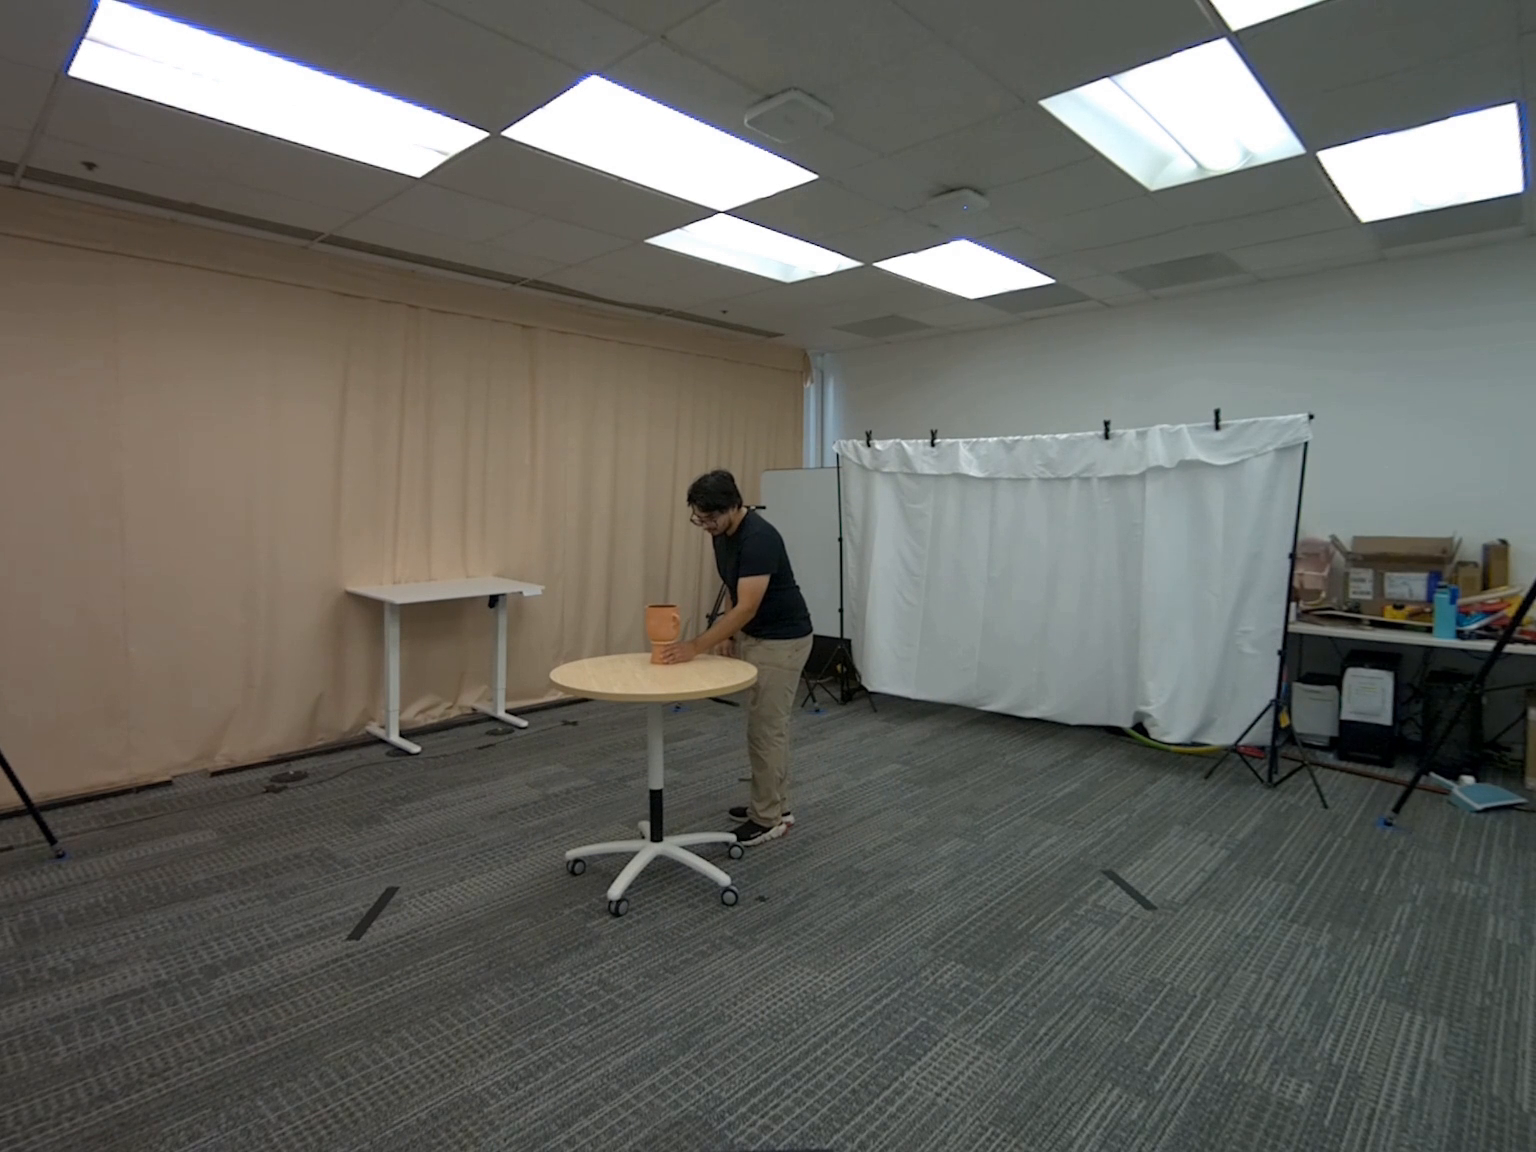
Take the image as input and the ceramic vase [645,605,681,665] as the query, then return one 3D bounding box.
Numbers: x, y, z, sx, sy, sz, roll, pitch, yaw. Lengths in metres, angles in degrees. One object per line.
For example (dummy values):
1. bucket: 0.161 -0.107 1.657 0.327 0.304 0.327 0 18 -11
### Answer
1. ceramic vase: -0.409 0.230 3.292 0.133 0.219 0.160 -1 2 -8
